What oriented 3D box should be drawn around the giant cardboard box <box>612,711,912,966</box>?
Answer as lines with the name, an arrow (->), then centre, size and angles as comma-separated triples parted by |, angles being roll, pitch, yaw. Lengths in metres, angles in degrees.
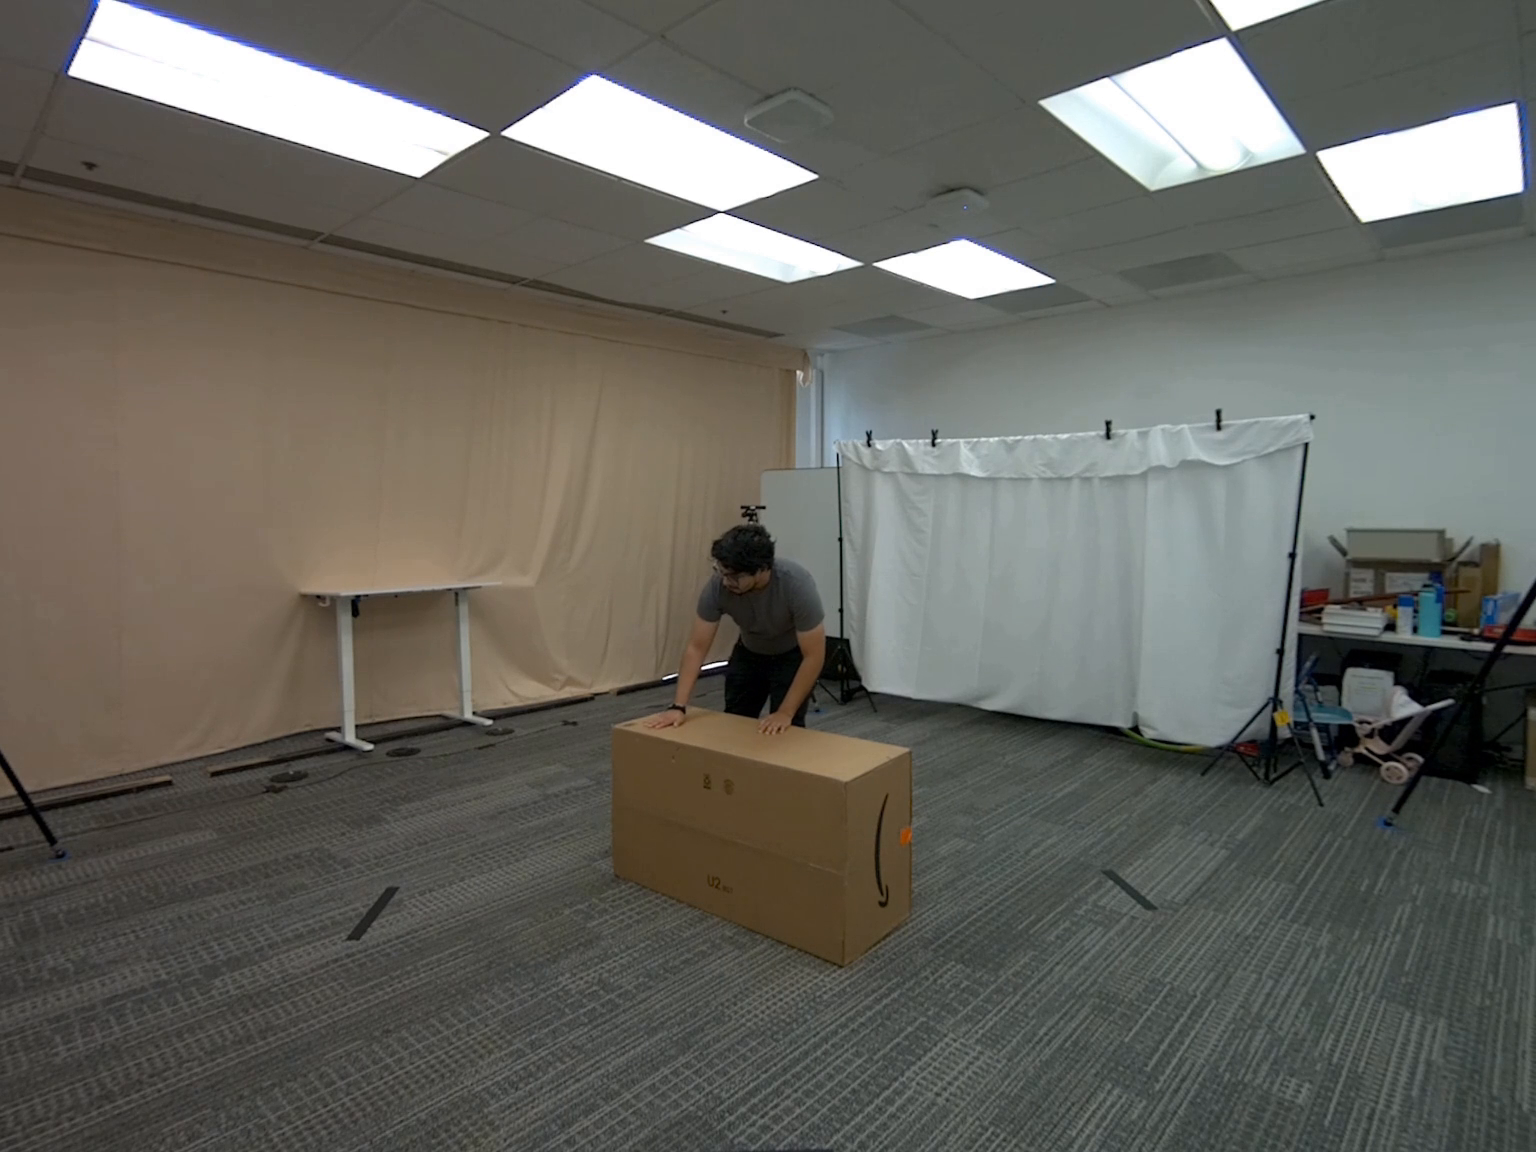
giant cardboard box -> -0.045, 0.855, 3.001 | 1.059, 0.576, 0.413 | 3, 4, 38
